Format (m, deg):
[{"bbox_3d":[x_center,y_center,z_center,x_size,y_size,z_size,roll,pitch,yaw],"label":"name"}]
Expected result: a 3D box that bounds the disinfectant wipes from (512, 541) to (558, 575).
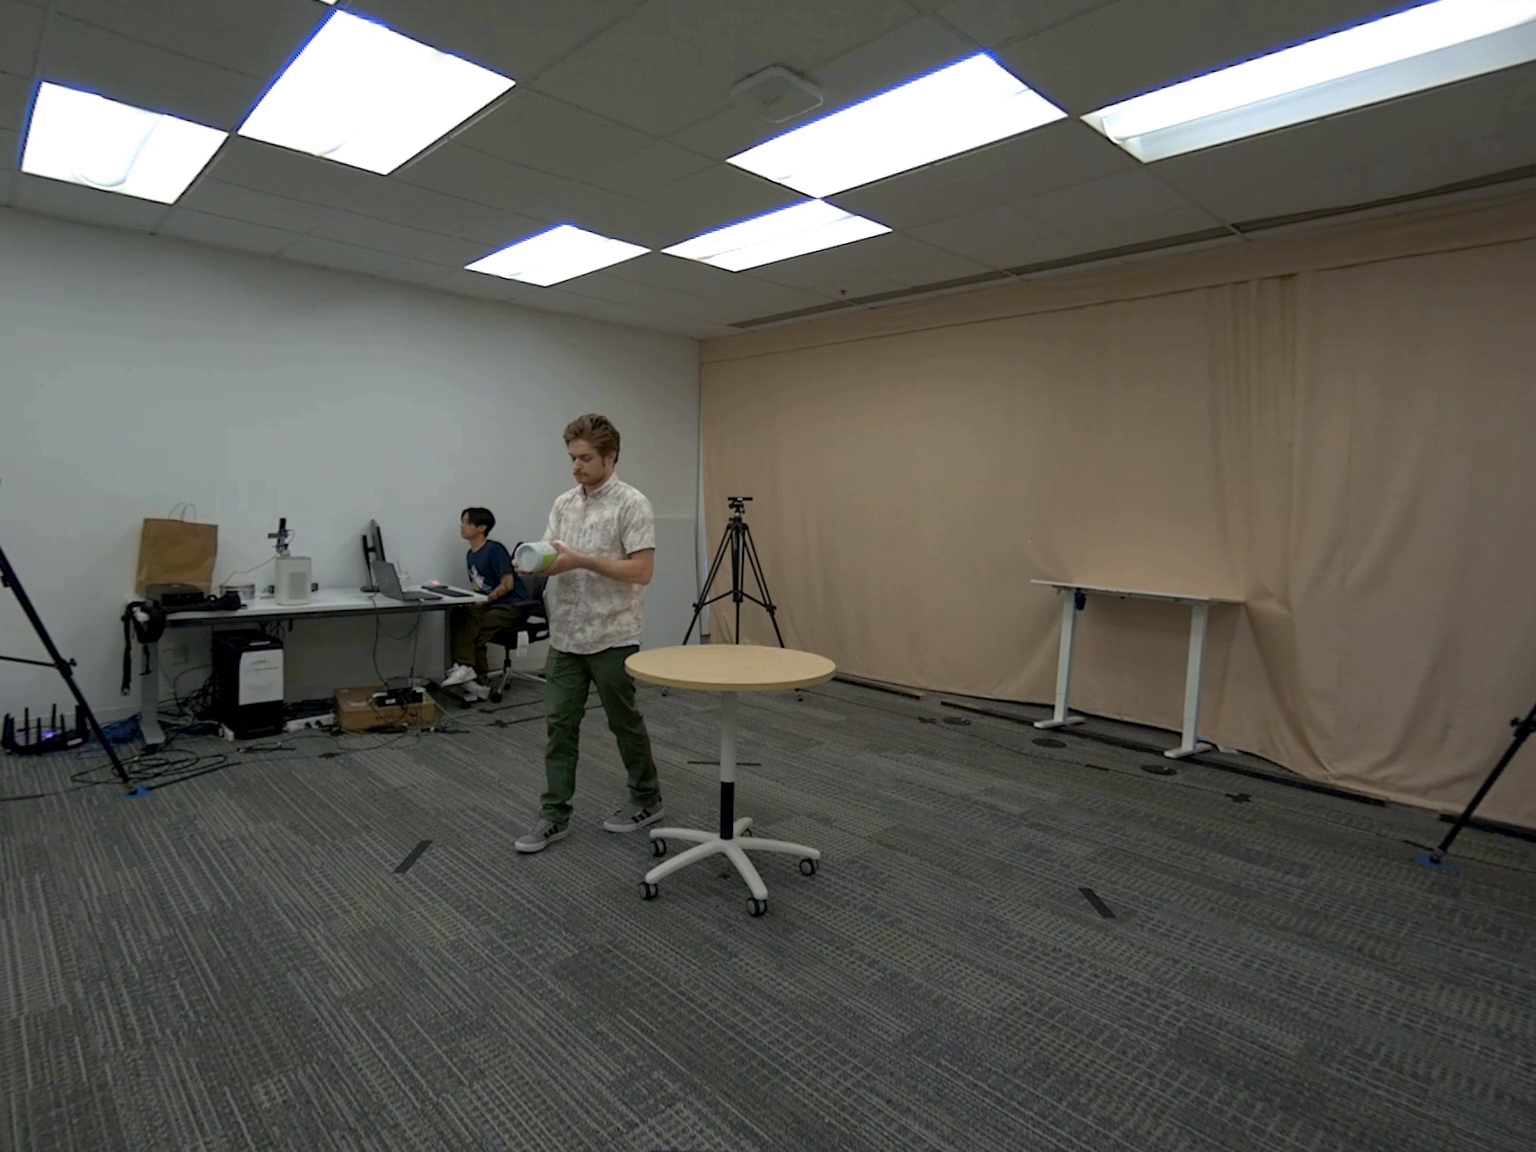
[{"bbox_3d":[-0.866,-0.080,3.191,0.119,0.117,0.215,3,5,15],"label":"disinfectant wipes"}]
